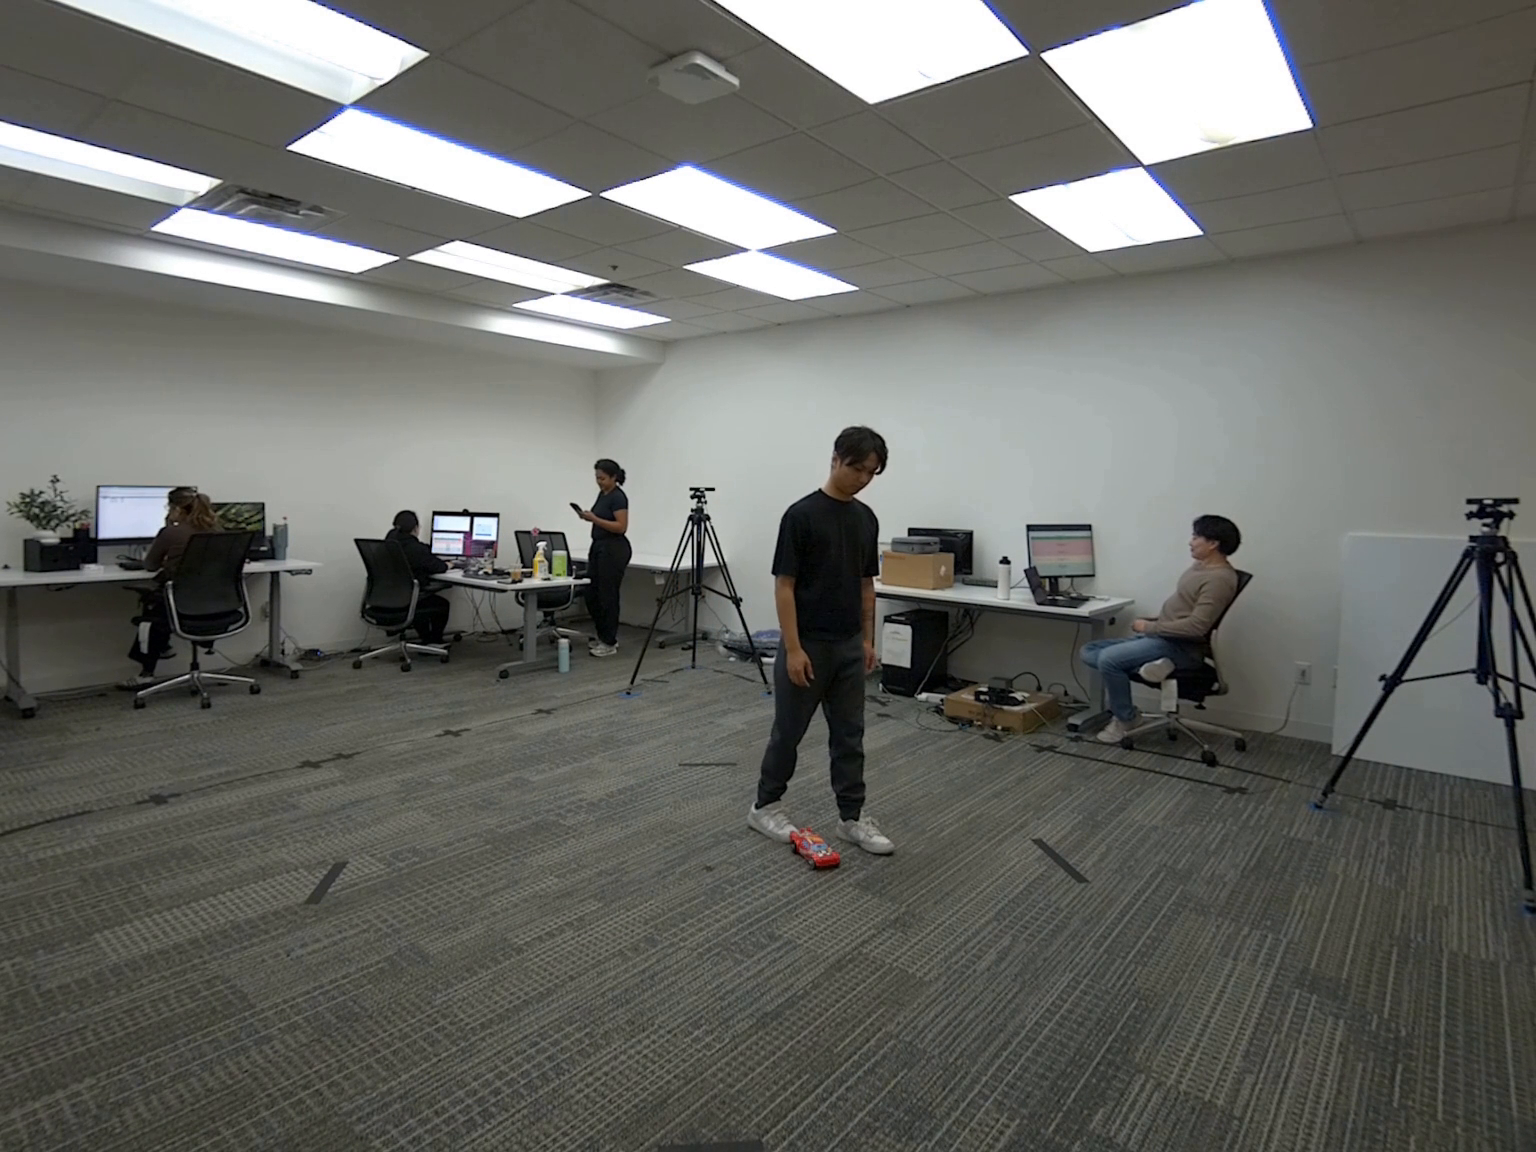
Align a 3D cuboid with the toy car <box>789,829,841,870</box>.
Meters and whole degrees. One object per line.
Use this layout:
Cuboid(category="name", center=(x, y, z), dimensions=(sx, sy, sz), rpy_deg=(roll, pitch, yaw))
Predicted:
Cuboid(category="toy car", center=(0.164, 1.031, 3.231), dimensions=(0.127, 0.082, 0.263), rpy_deg=(0, 16, -24))
